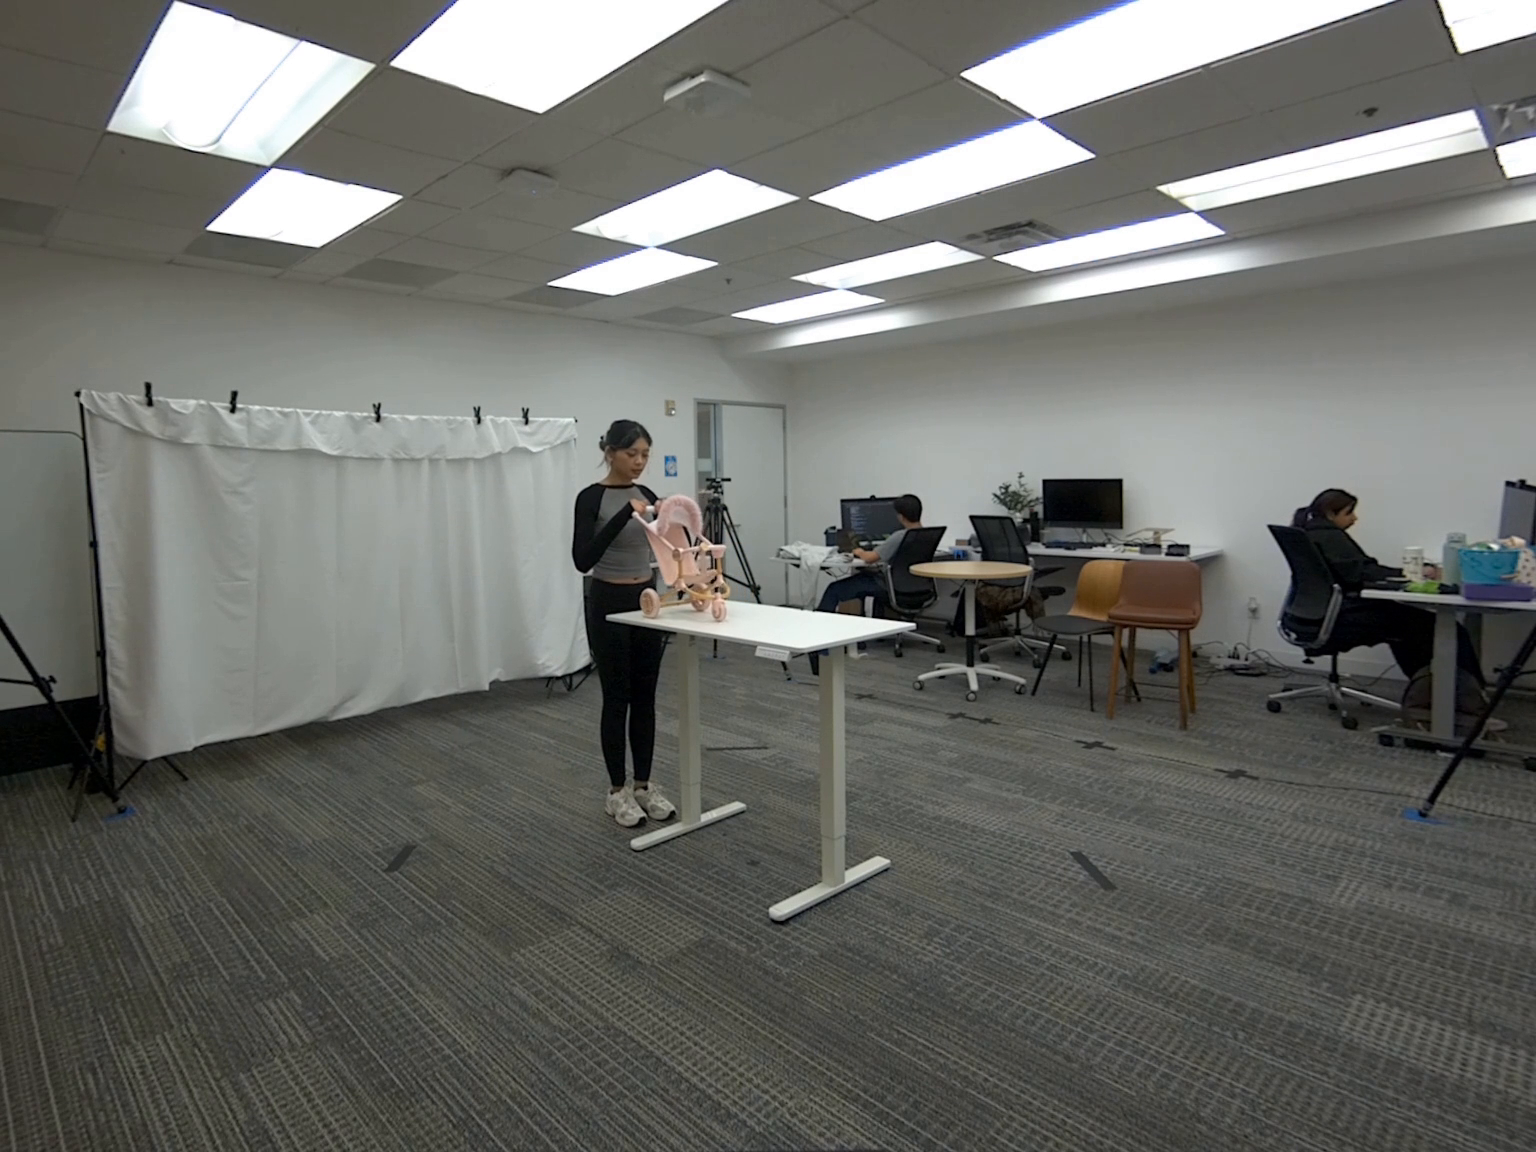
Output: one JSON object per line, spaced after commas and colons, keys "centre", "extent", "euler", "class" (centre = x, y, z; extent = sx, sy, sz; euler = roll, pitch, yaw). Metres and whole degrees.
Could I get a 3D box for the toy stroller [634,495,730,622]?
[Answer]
{"centre": [-0.314, -0.070, 3.213], "extent": [0.274, 0.541, 0.346], "euler": [-4, -13, -39], "class": "toy stroller"}
